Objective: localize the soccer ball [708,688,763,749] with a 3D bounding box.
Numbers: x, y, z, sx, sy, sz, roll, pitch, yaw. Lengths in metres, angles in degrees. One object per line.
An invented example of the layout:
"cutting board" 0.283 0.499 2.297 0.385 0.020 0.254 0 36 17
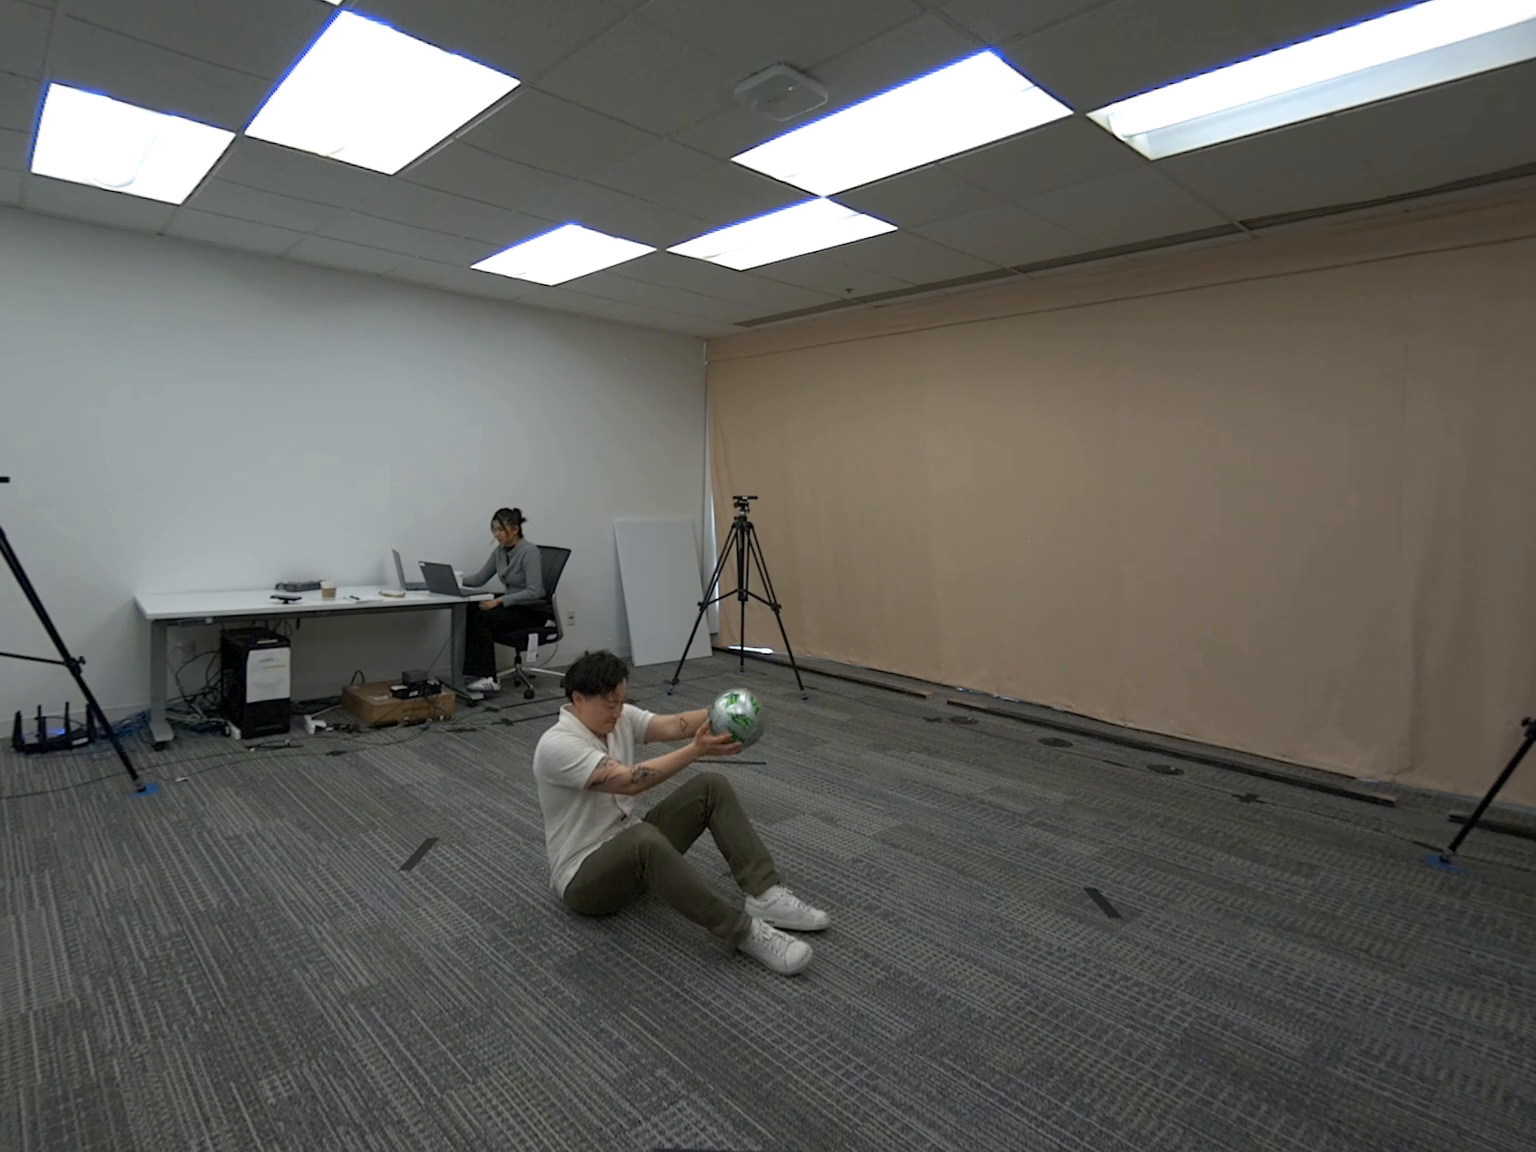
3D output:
"soccer ball" -0.124 0.492 2.661 0.187 0.187 0.188 1 4 -1
